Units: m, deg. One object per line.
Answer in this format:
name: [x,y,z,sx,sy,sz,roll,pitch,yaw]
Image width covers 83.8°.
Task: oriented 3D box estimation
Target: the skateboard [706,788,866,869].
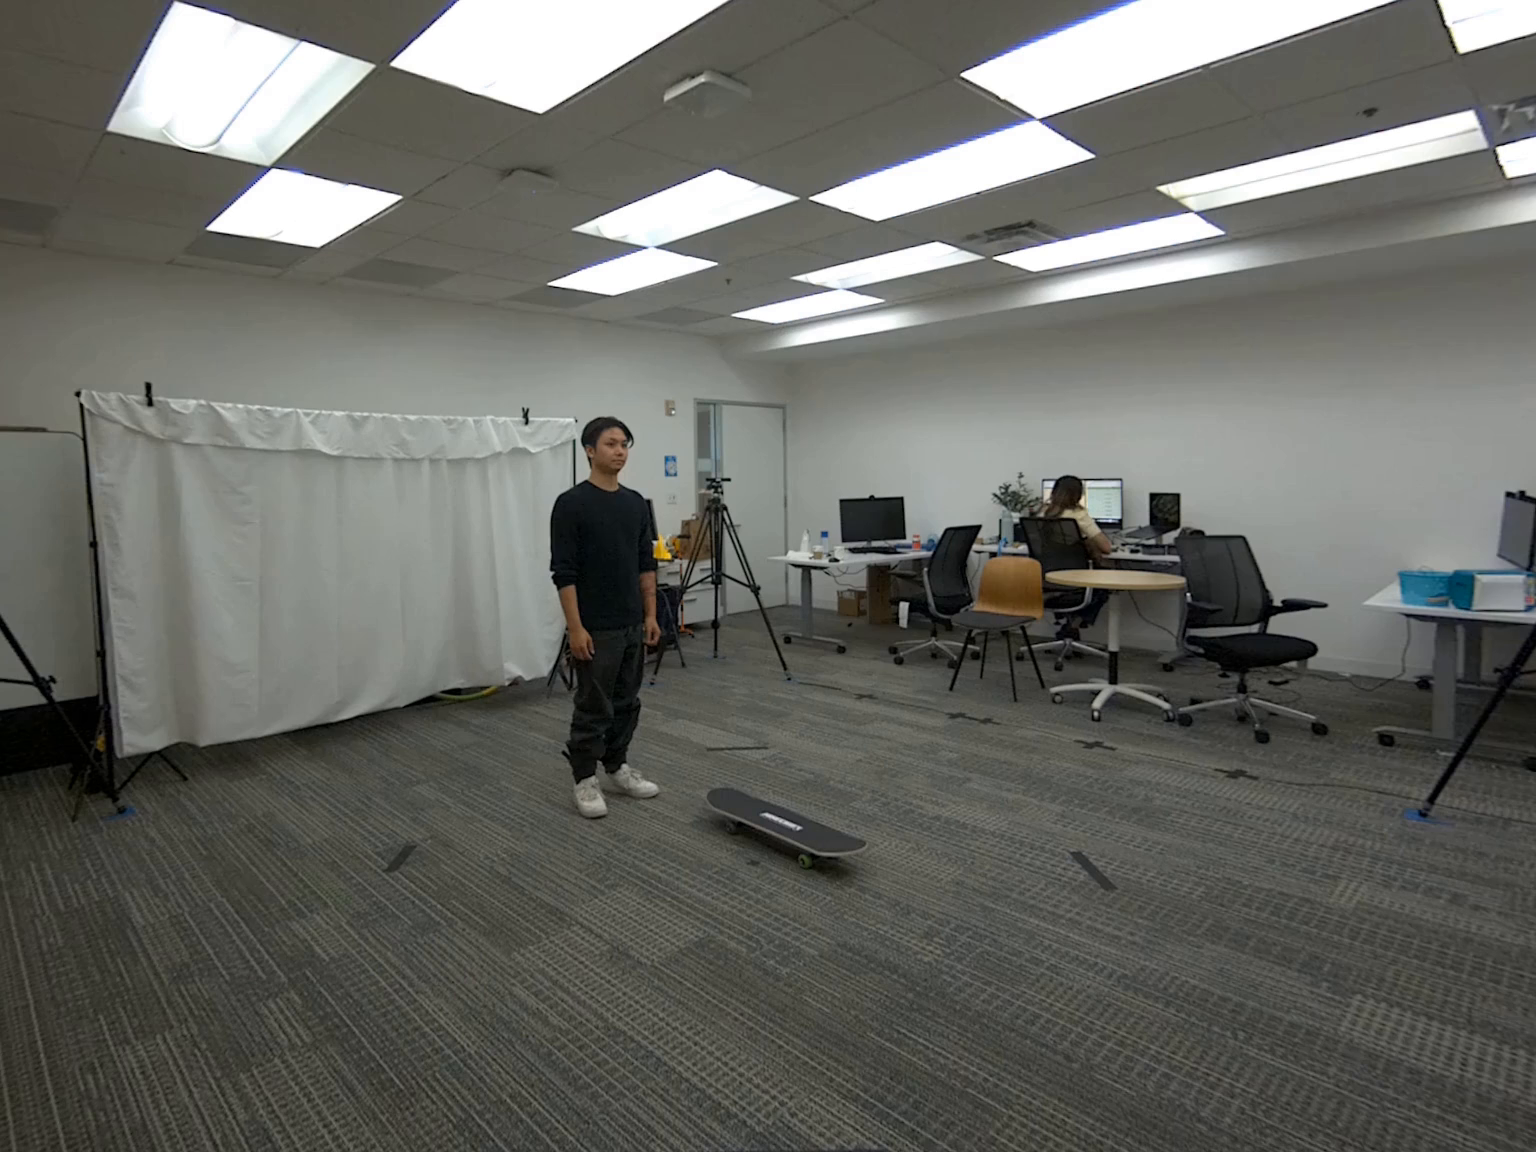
skateboard: [0.057,0.970,3.254,0.188,0.110,0.810,-7,8,-42]
